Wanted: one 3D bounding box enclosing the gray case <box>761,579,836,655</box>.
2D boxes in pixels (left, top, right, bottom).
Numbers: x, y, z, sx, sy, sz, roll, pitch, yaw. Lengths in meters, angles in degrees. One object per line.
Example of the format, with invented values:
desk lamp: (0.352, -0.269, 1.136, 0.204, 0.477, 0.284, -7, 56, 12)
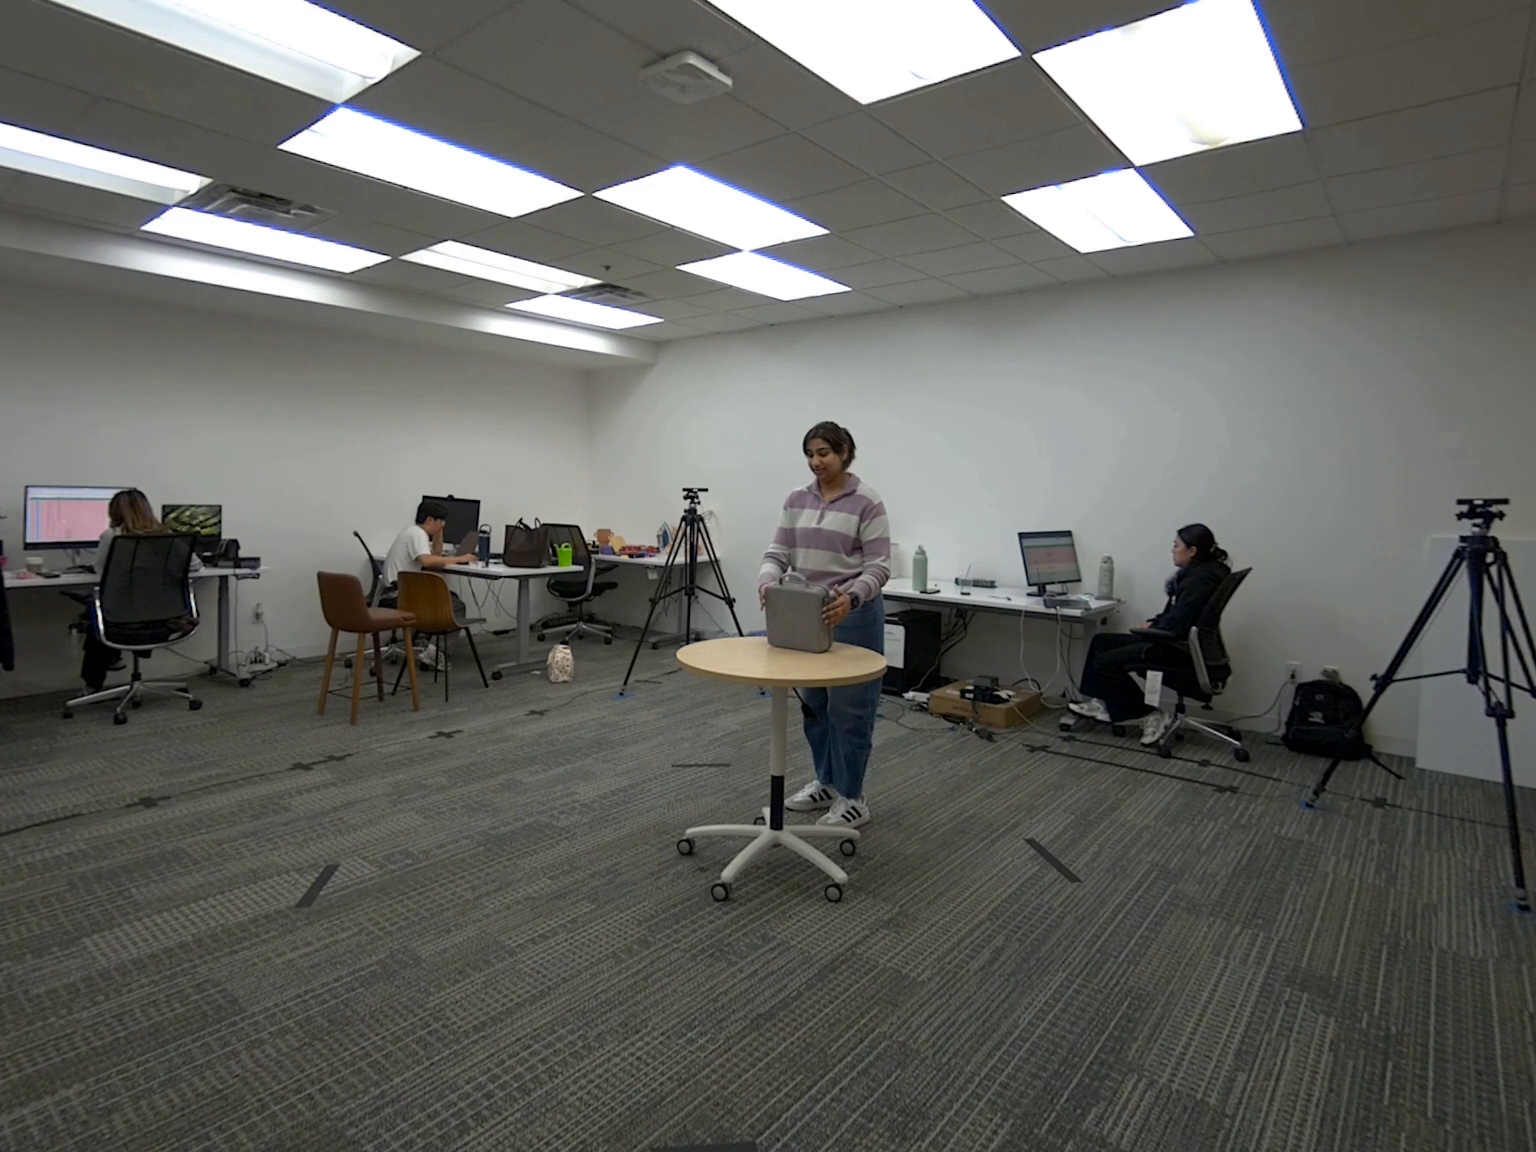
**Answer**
gray case: (0.114, 0.143, 3.241, 0.265, 0.258, 0.102, 4, 13, 35)
